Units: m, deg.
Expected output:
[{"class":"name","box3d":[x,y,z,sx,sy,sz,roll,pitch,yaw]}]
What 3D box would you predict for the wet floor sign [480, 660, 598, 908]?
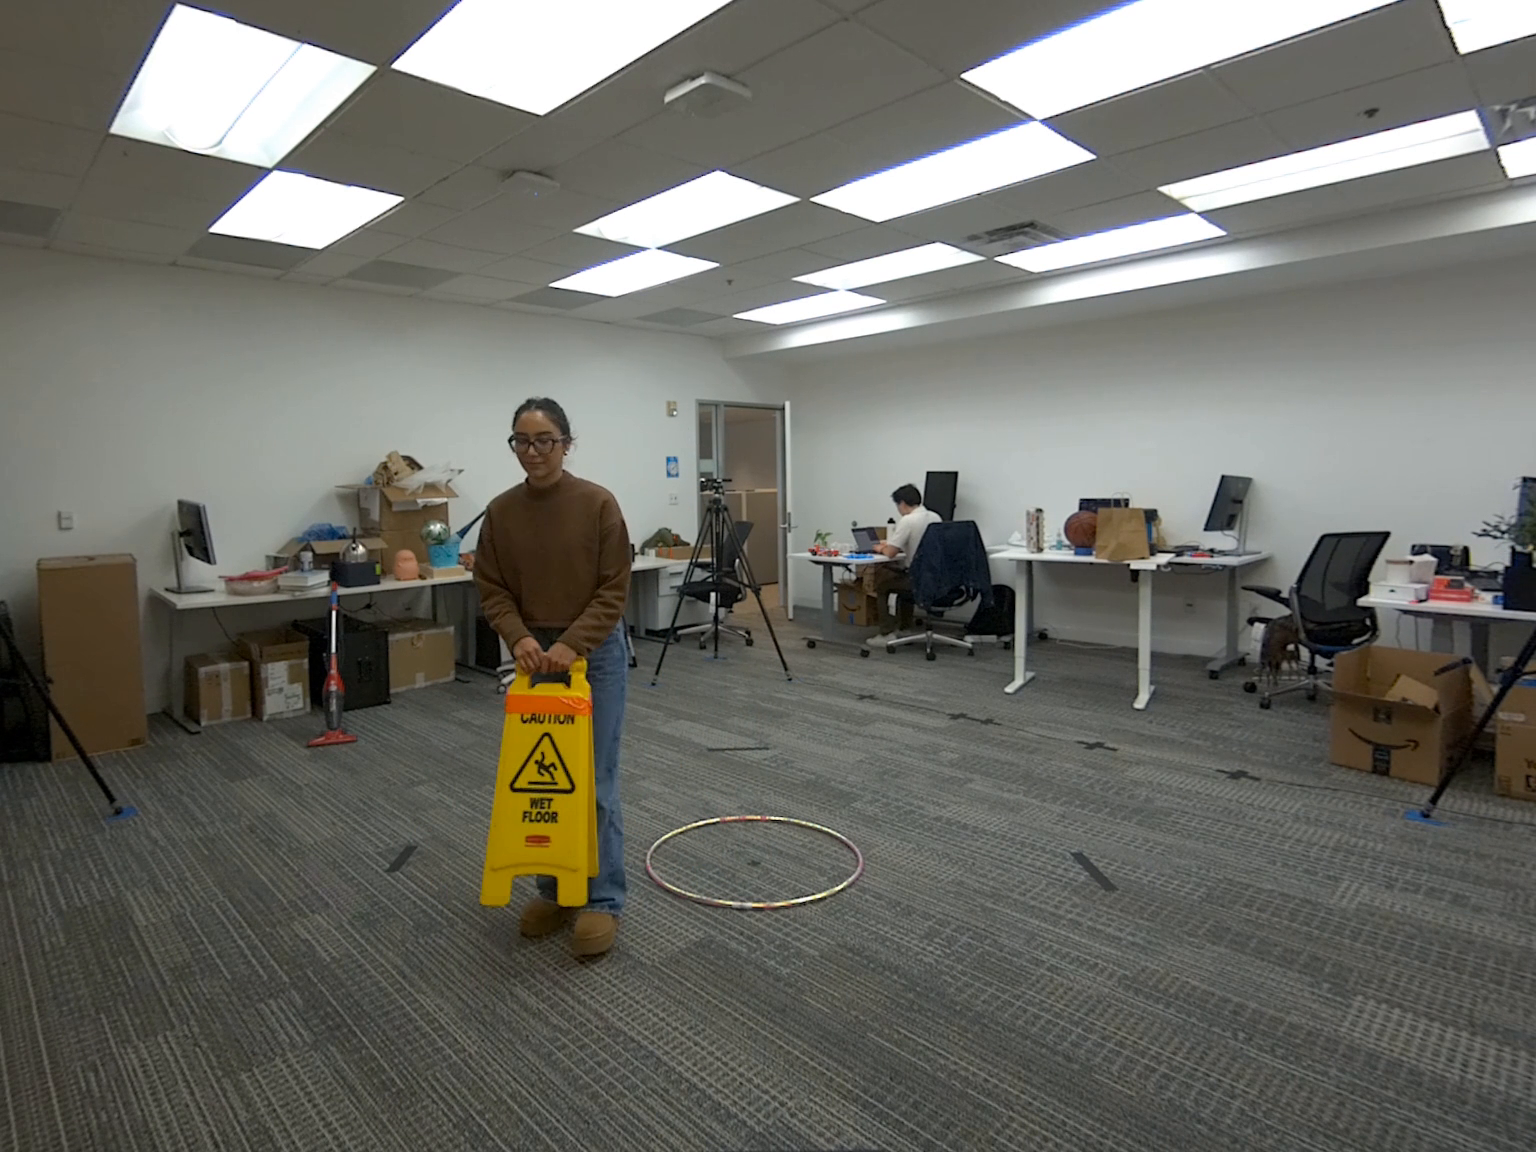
[{"class":"wet floor sign","box3d":[-0.629,0.559,2.398,0.282,0.649,0.289,0,-5,-3]}]
